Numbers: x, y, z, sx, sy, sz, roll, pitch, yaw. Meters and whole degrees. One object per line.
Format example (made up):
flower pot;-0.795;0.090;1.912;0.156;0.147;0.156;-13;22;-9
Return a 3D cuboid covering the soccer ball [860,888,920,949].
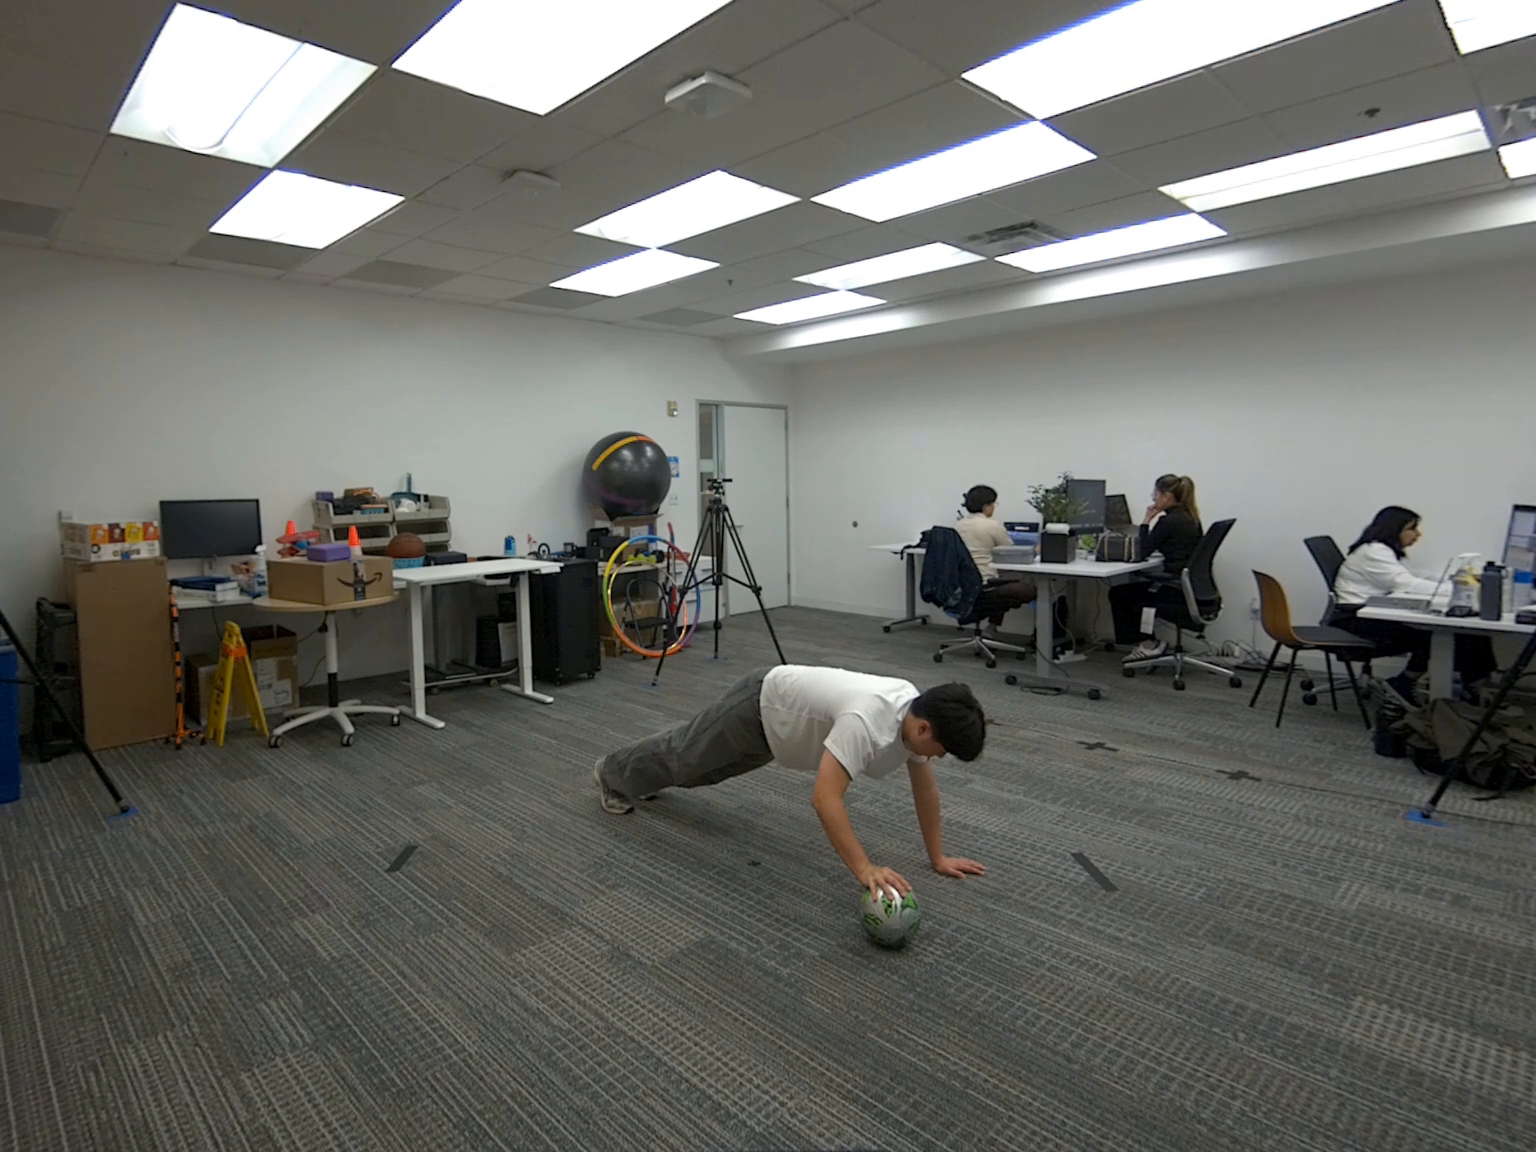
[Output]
soccer ball;0.371;1.013;2.574;0.187;0.187;0.188;-1;5;-2
